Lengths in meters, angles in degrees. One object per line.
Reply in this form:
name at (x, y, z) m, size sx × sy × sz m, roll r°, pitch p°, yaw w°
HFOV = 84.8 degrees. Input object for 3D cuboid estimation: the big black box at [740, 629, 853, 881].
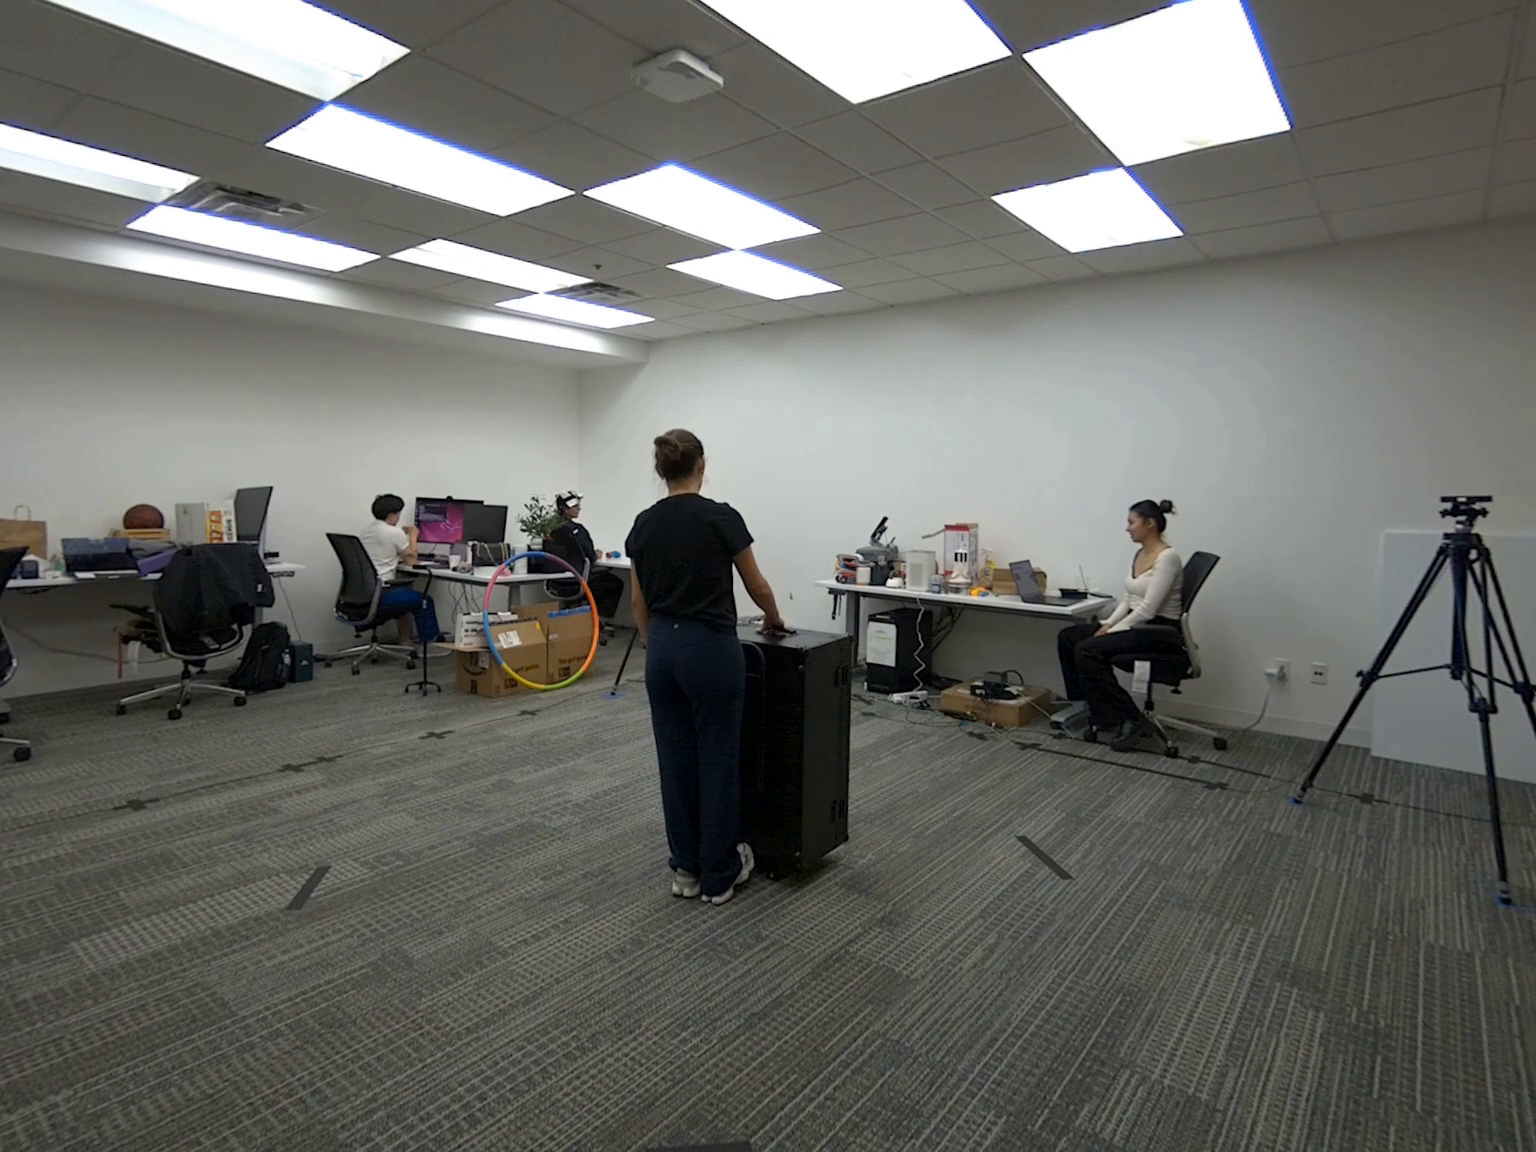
big black box at (0.032, 0.635, 3.207) m, size 0.538 × 0.859 × 0.385 m, roll 3°, pitch 4°, yaw 34°
